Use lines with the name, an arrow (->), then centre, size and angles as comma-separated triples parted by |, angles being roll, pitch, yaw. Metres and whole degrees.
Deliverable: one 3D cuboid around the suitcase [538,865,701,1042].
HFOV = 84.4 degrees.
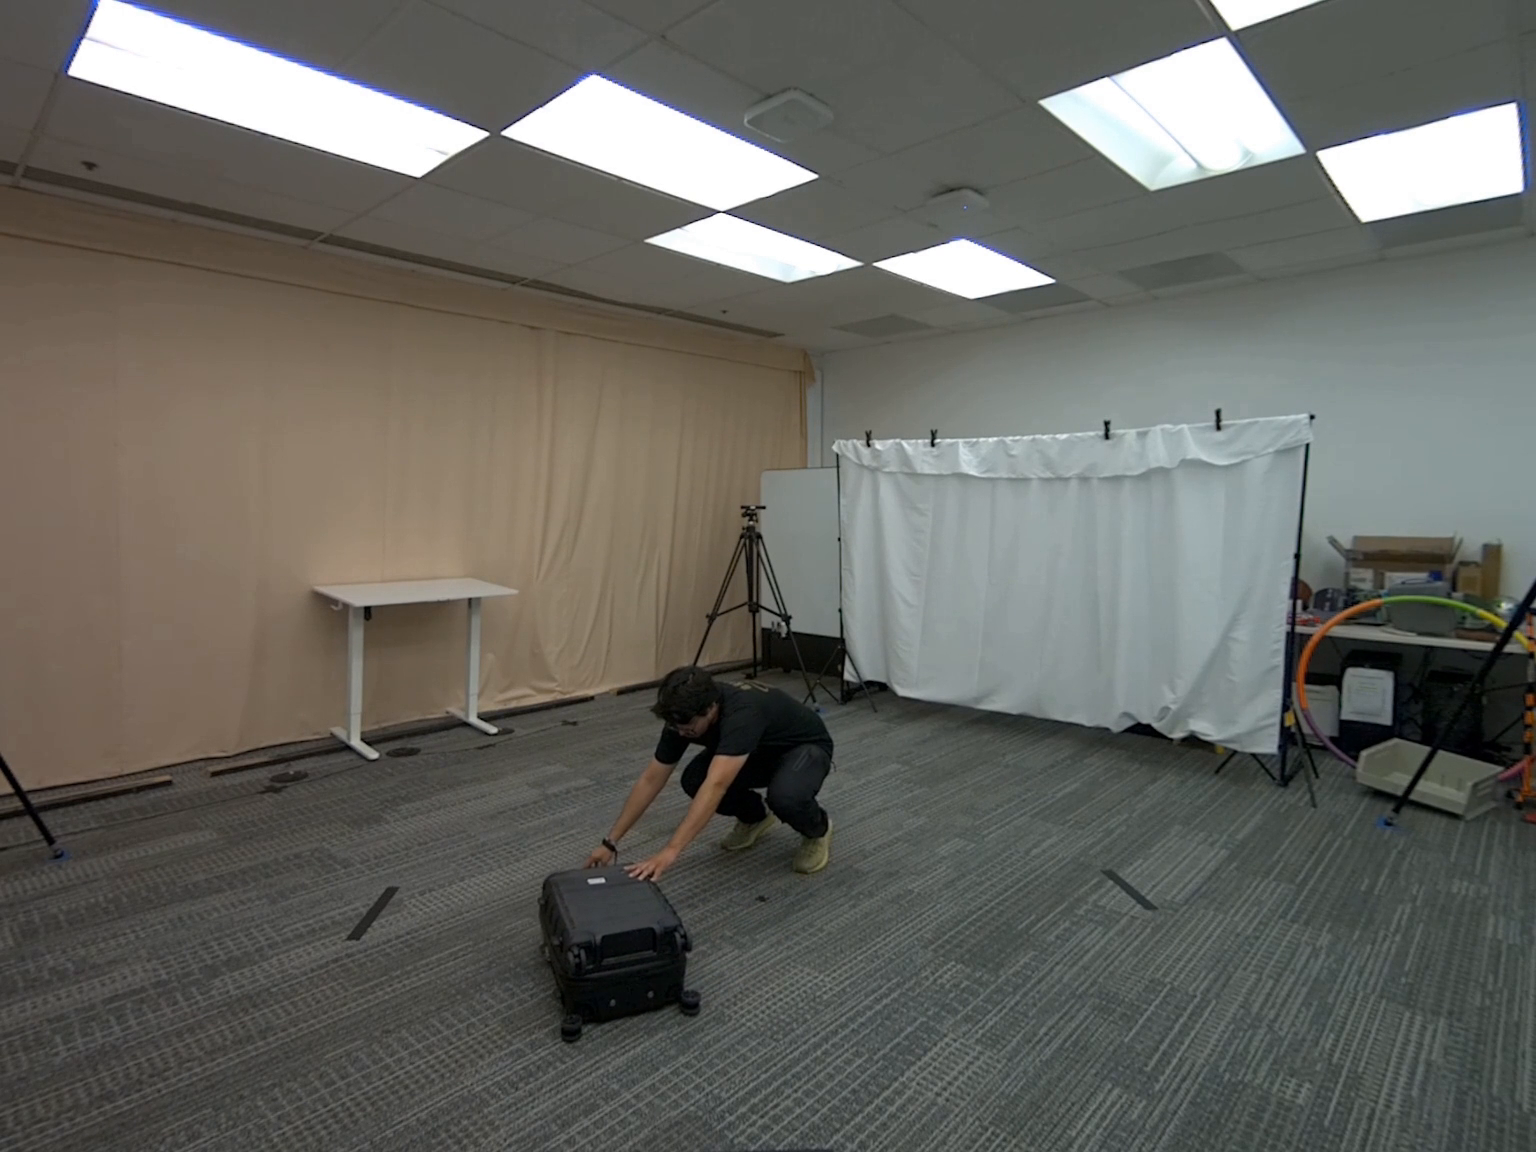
suitcase -> -0.547, 1.044, 2.686 | 0.376, 0.256, 1.003 | -3, 7, -23
